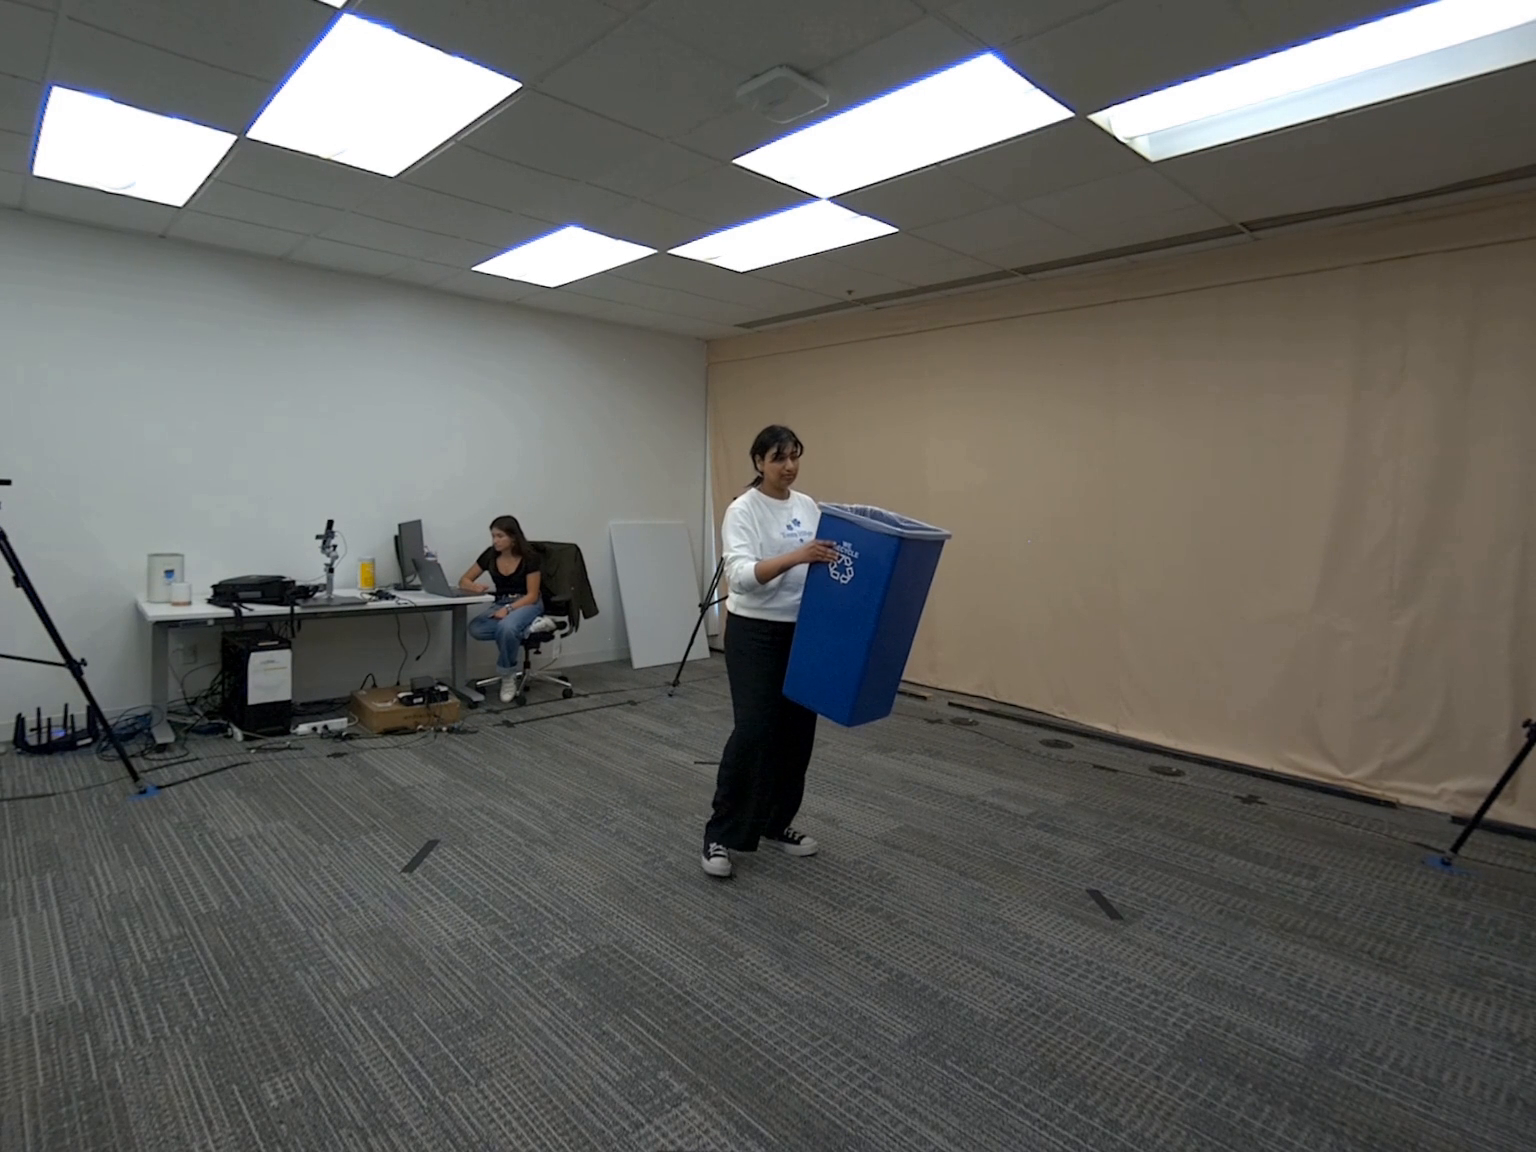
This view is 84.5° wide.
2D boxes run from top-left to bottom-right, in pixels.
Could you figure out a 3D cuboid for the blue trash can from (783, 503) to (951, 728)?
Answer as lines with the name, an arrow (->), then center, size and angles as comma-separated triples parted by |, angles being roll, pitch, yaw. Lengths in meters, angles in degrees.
blue trash can -> 0.331, 0.135, 3.008 | 0.385, 0.709, 0.369 | 20, 12, 35
